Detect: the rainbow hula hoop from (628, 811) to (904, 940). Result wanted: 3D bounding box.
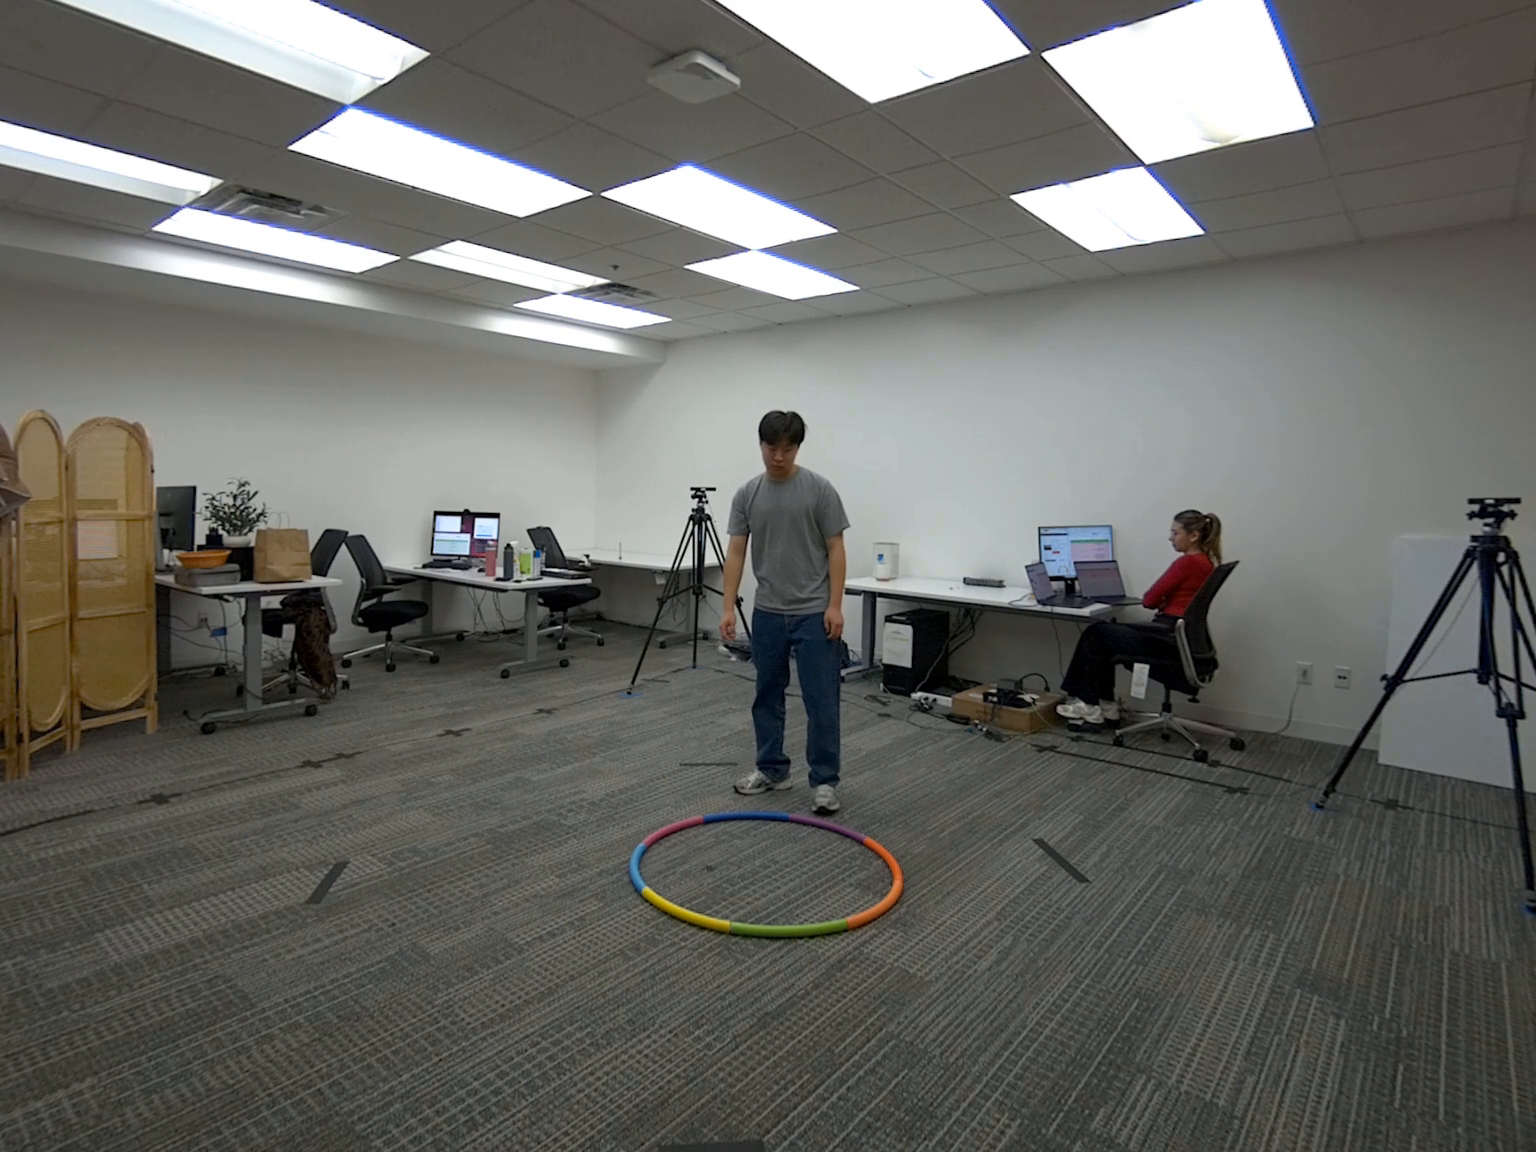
[{"bbox_3d":[-0.019,1.037,3.106,0.978,0.035,0.984,1,5,-2],"label":"rainbow hula hoop"}]
